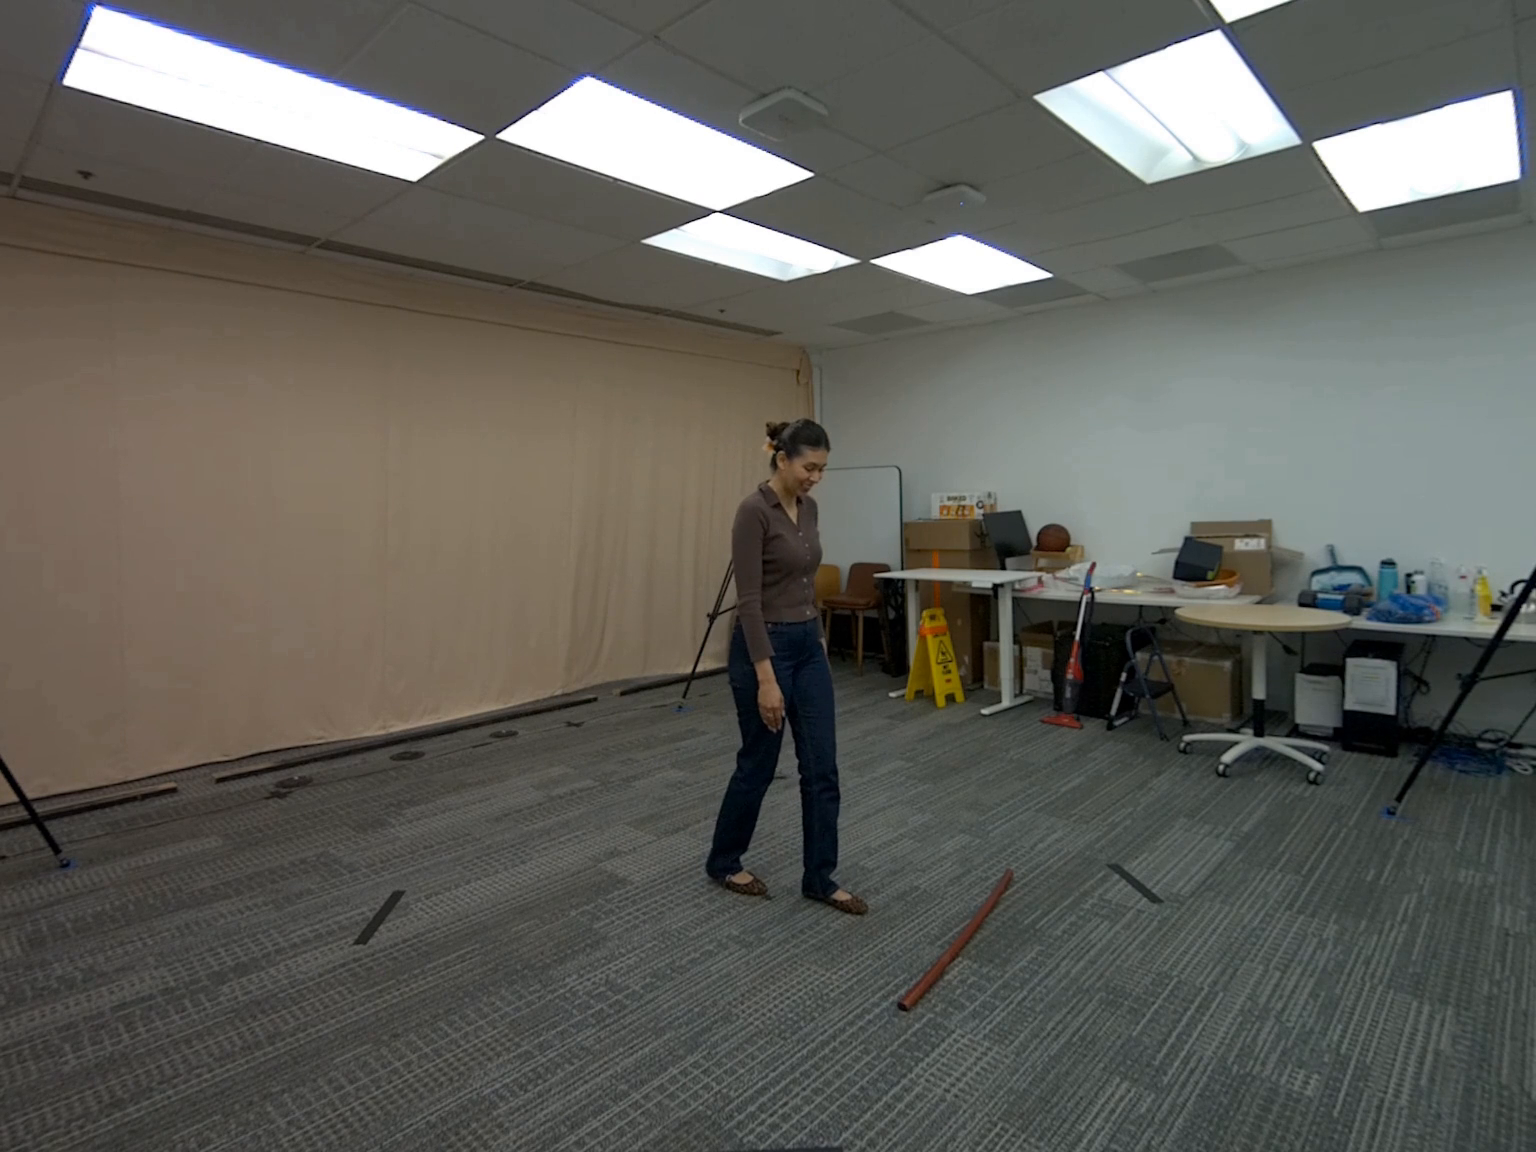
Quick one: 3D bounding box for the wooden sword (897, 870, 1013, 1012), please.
[{"bbox_3d":[0.633,1.128,2.713,0.053,0.024,0.996,8,8,32],"label":"wooden sword"}]
